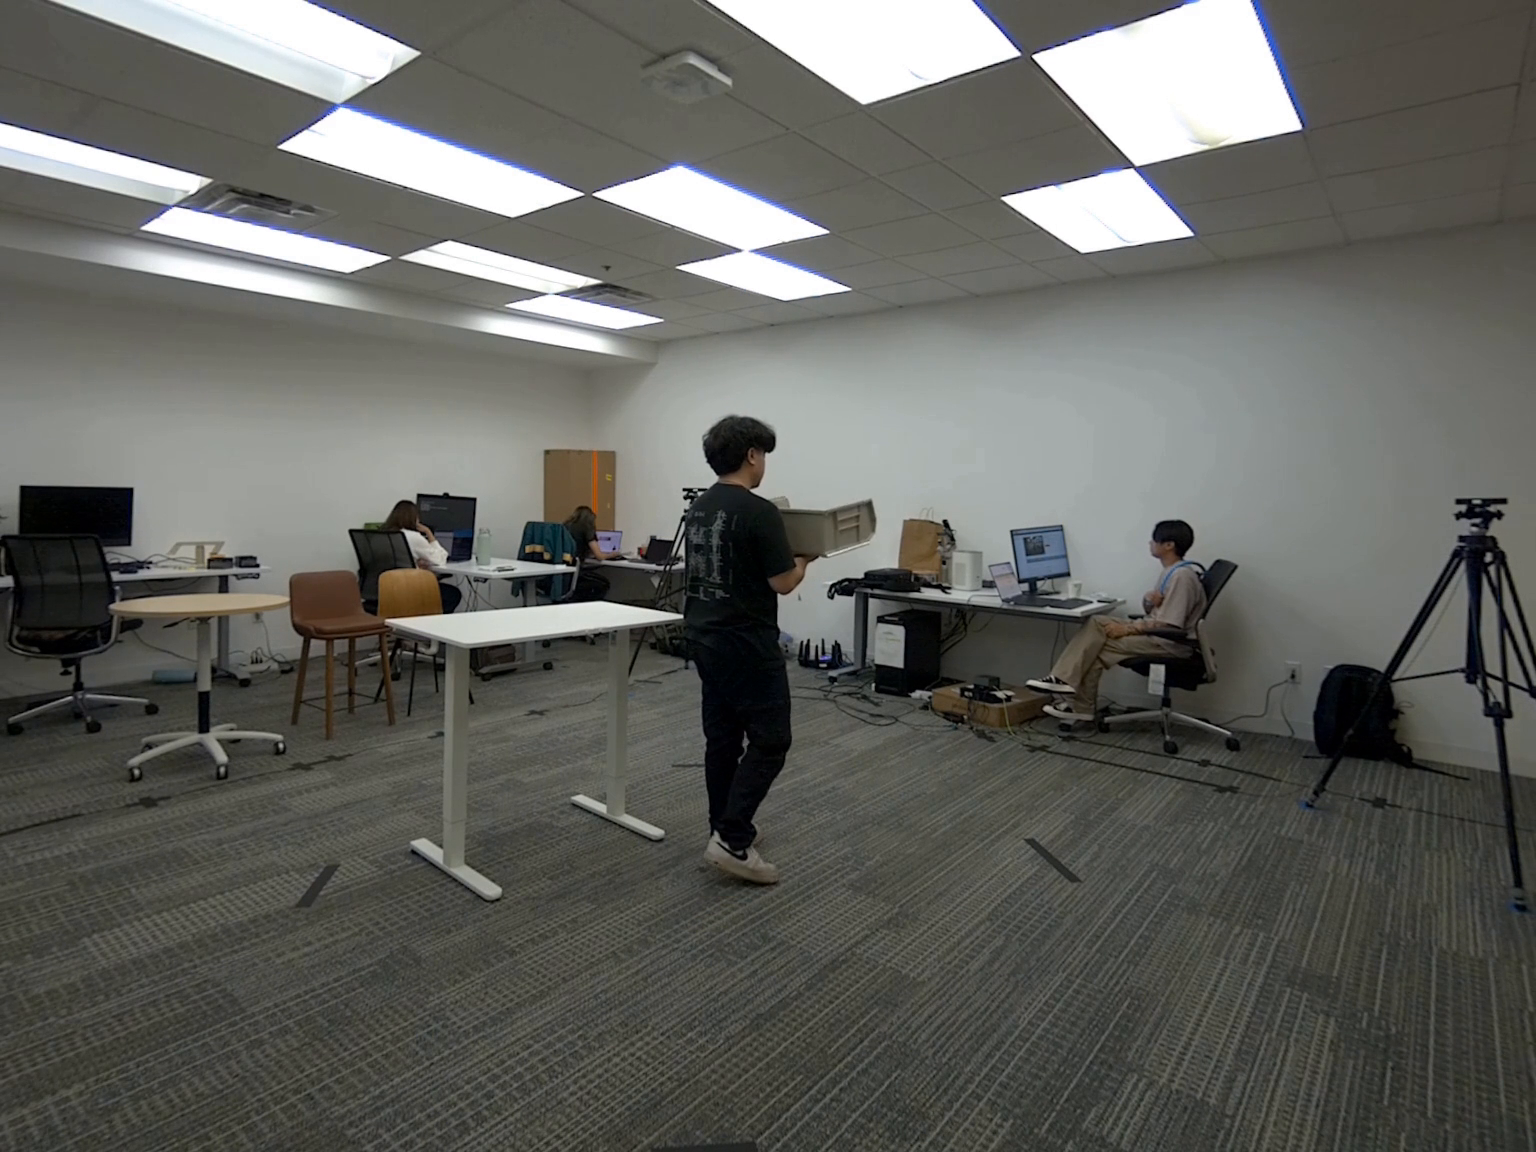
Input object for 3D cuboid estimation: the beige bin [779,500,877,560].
[{"bbox_3d":[0.149,-0.207,3.366,0.437,0.187,0.369,6,16,37],"label":"beige bin"}]
